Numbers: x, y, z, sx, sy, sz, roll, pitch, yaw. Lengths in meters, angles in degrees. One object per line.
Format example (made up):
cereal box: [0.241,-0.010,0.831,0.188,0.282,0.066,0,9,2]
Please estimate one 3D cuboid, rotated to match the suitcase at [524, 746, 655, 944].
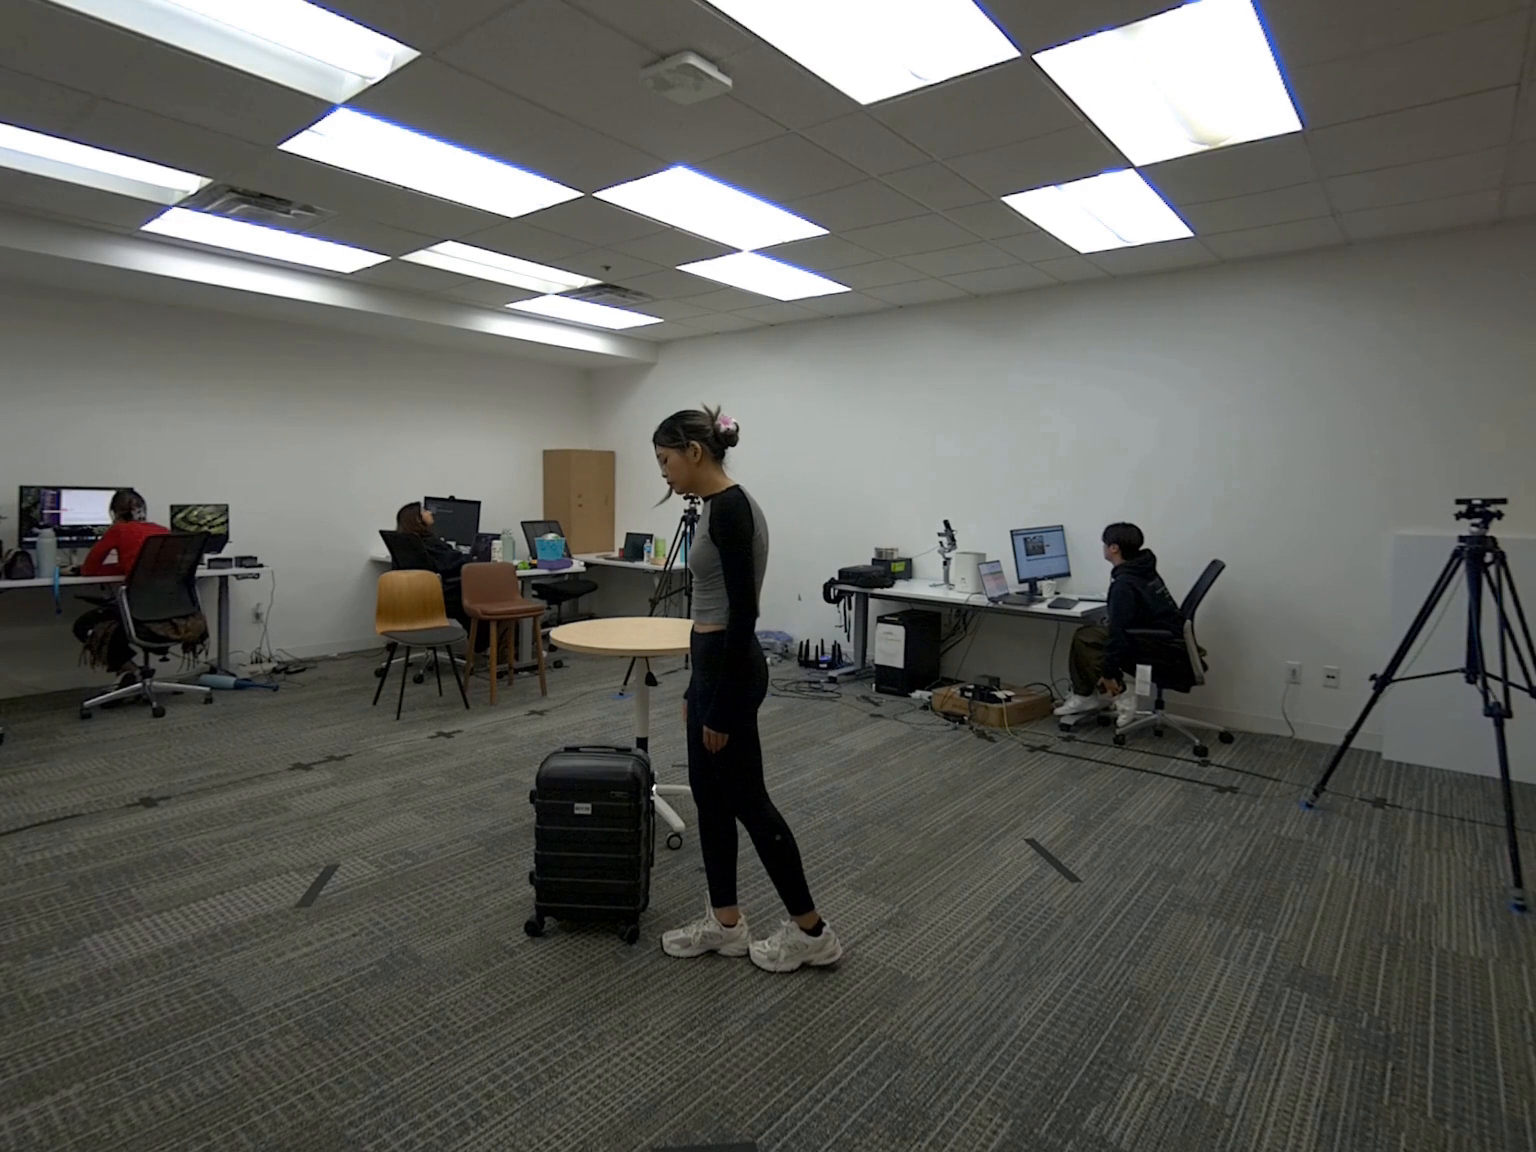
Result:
suitcase: [-0.568,0.835,2.707,0.376,0.547,0.249,2,4,1]
